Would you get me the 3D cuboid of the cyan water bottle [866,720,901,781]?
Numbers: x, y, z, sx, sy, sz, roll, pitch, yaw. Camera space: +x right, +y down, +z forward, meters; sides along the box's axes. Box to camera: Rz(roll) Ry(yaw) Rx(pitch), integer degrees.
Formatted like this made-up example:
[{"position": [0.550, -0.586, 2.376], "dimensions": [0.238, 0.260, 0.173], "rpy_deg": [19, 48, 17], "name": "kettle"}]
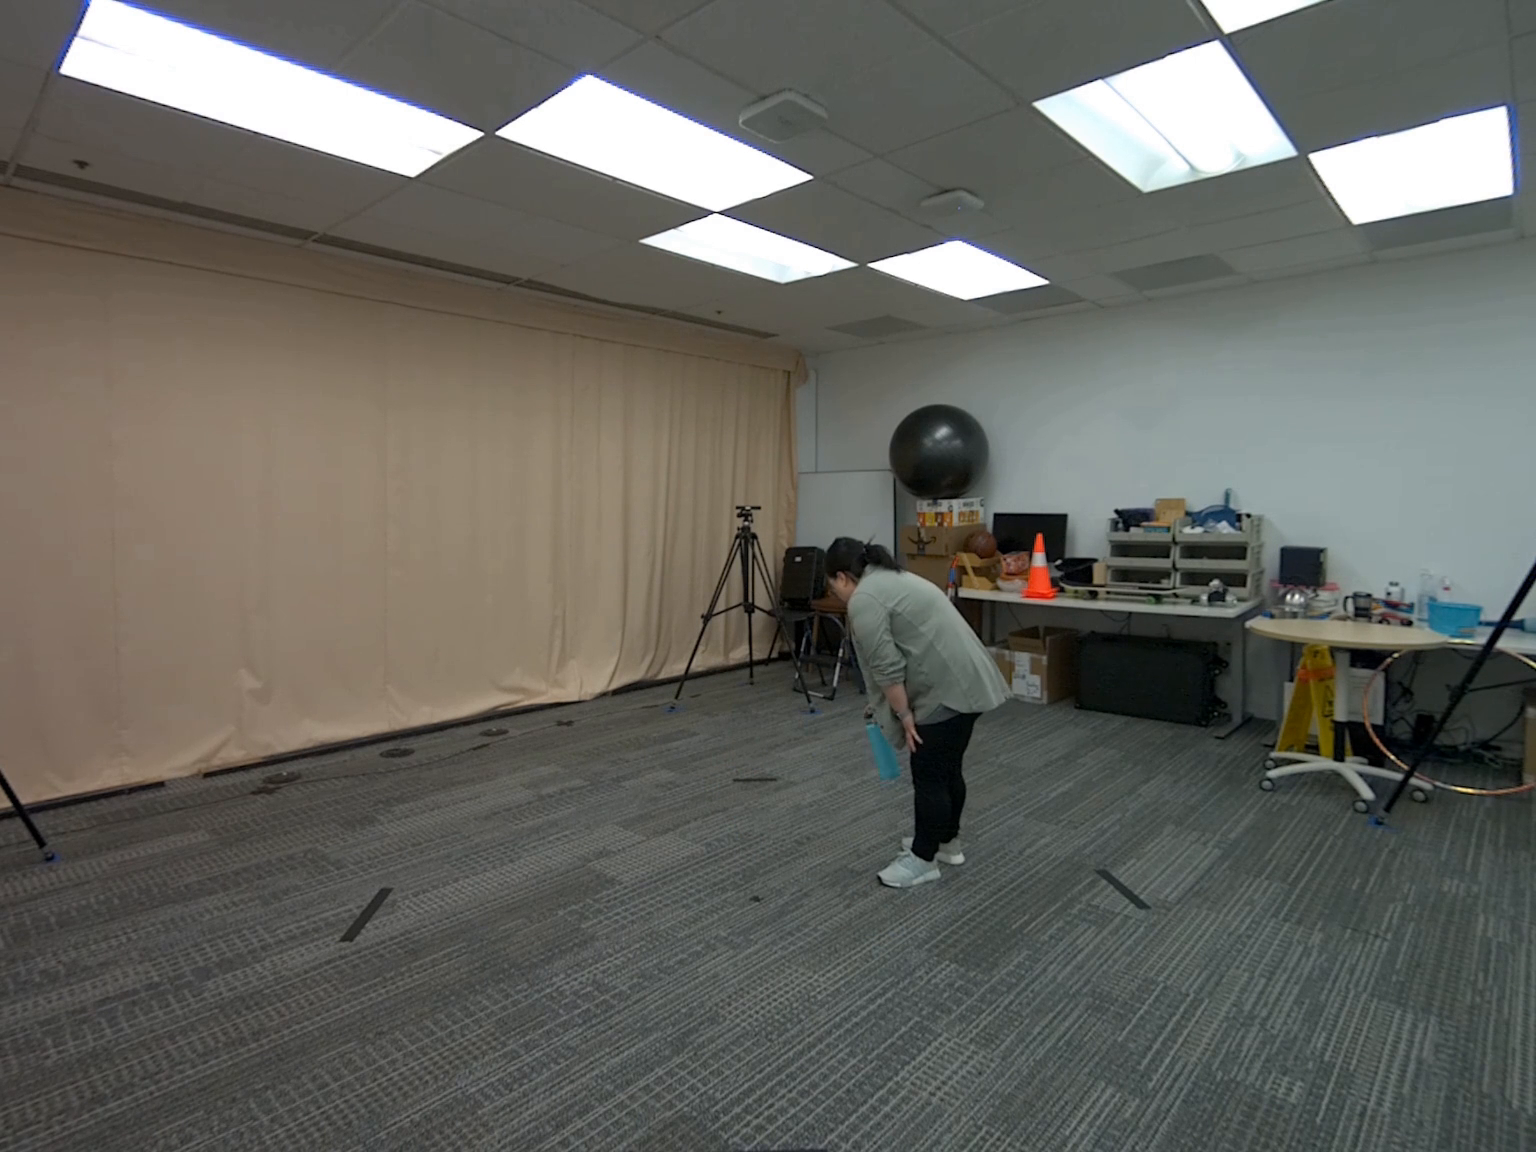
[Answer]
[{"position": [0.467, 0.694, 3.464], "dimensions": [0.092, 0.285, 0.092], "rpy_deg": [-13, -8, -4], "name": "cyan water bottle"}]
